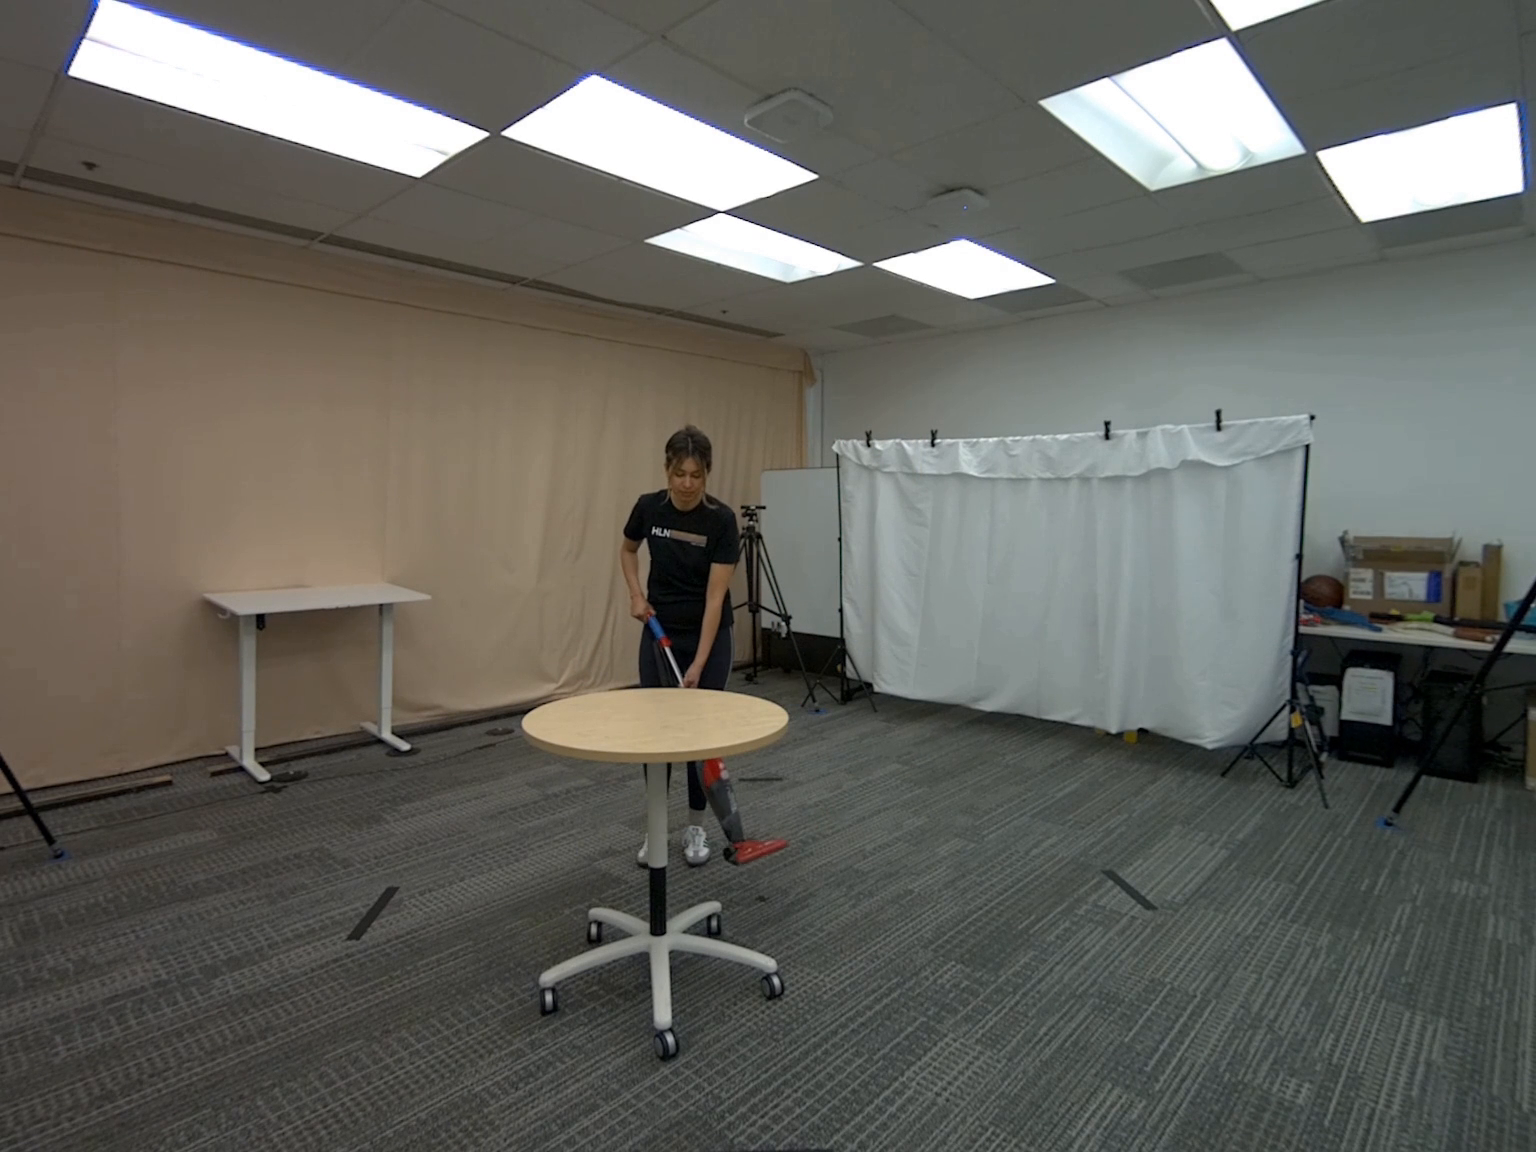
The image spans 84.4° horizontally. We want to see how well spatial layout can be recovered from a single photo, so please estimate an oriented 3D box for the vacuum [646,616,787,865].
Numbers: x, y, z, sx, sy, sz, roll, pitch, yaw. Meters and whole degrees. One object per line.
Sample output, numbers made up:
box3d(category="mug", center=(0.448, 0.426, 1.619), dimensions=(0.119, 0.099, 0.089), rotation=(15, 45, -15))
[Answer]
box3d(category="vacuum", center=(-0.283, 0.551, 3.140), dimensions=(0.244, 1.074, 0.145), rotation=(0, -37, -49))
